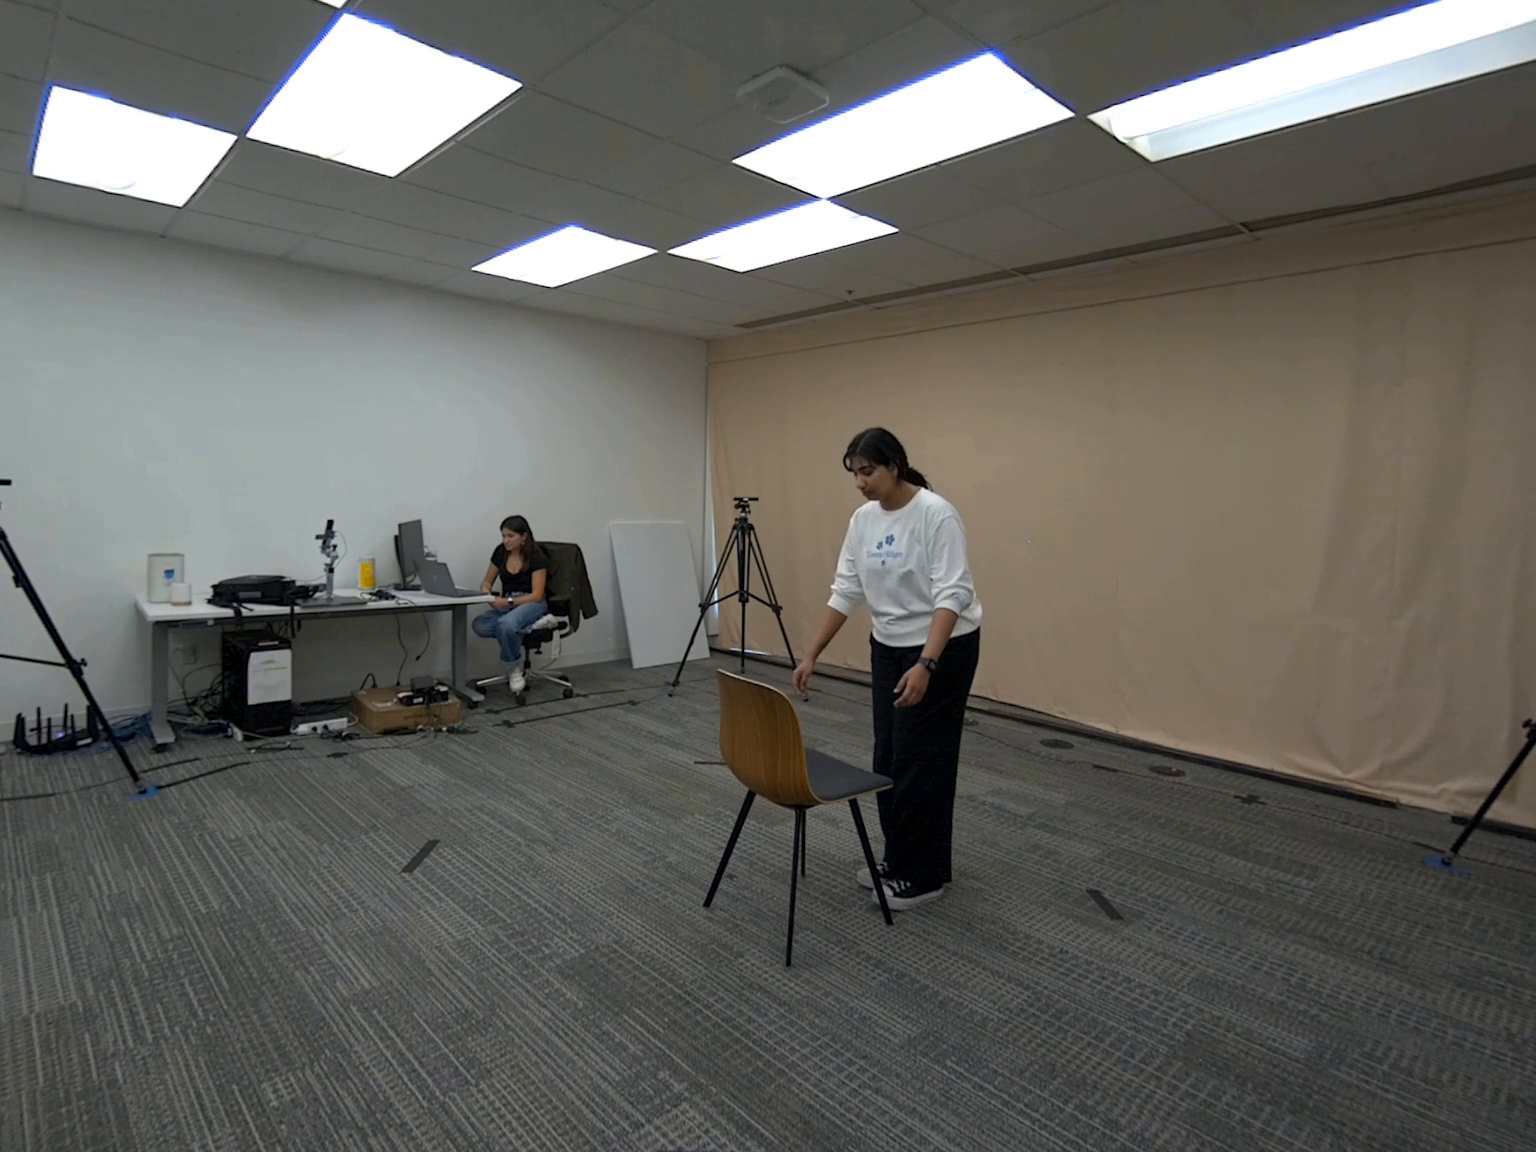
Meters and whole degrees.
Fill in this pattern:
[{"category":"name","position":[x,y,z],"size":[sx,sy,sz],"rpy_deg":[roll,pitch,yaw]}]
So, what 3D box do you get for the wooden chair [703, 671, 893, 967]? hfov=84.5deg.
[{"category":"wooden chair","position":[0.106,0.715,2.792],"size":[0.512,0.873,0.490],"rpy_deg":[-7,7,-37]}]
